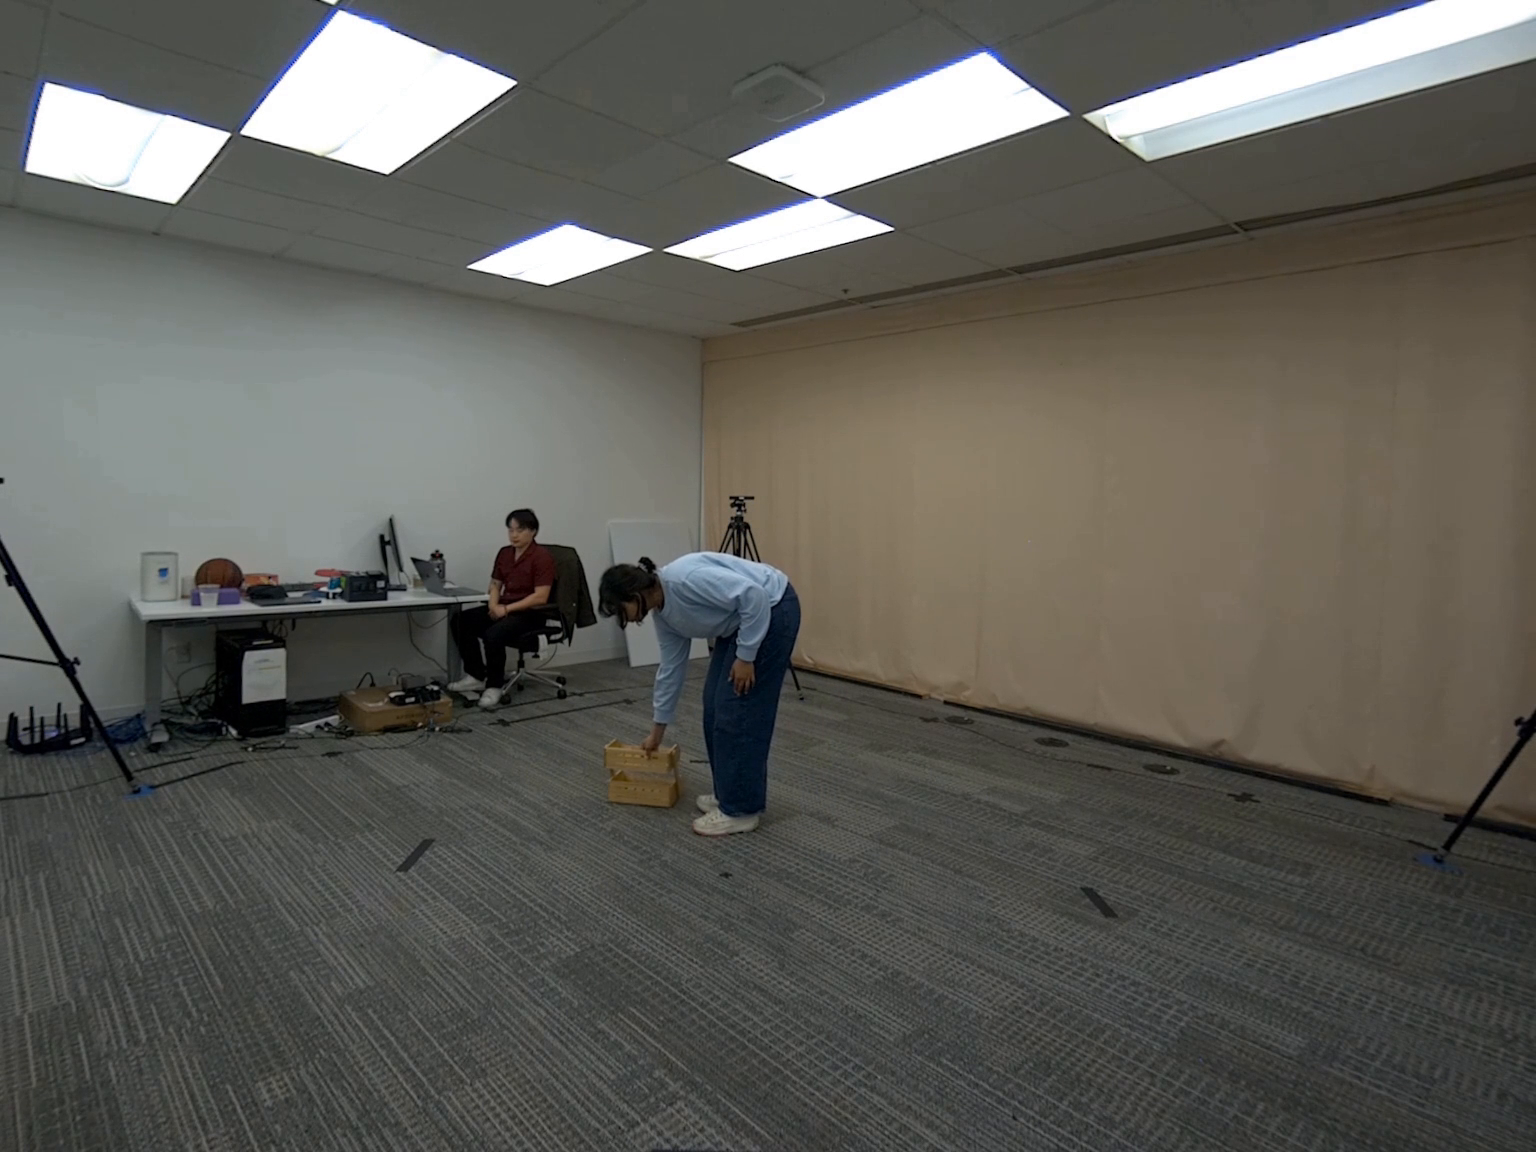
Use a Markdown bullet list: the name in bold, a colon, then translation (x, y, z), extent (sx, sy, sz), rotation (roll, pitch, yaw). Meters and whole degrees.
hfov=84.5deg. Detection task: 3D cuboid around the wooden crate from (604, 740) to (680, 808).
- **wooden crate**: translation (-0.576, 0.888, 3.888), extent (0.327, 0.273, 0.300), rotation (2, 4, 10)
